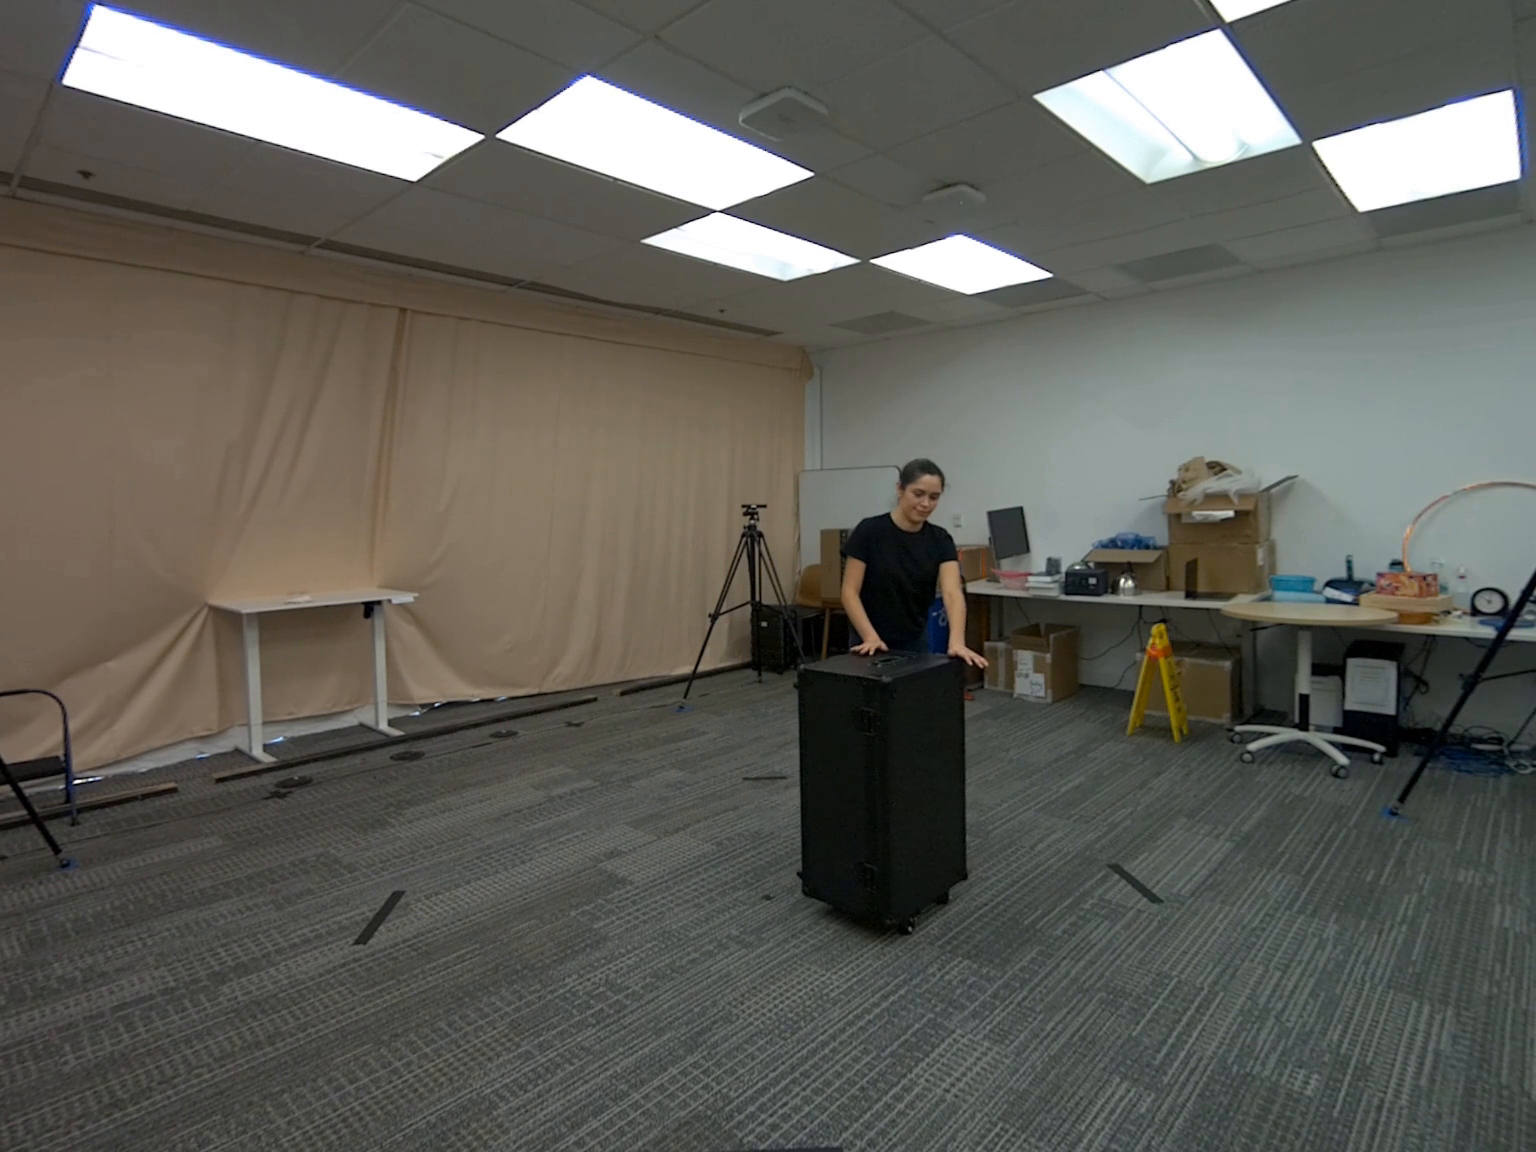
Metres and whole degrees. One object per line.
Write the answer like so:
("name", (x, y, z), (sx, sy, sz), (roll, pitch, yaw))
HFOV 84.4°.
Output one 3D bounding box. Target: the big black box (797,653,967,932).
("big black box", (0.399, 0.719, 2.885), (0.409, 0.860, 0.505), (1, 4, 42))
